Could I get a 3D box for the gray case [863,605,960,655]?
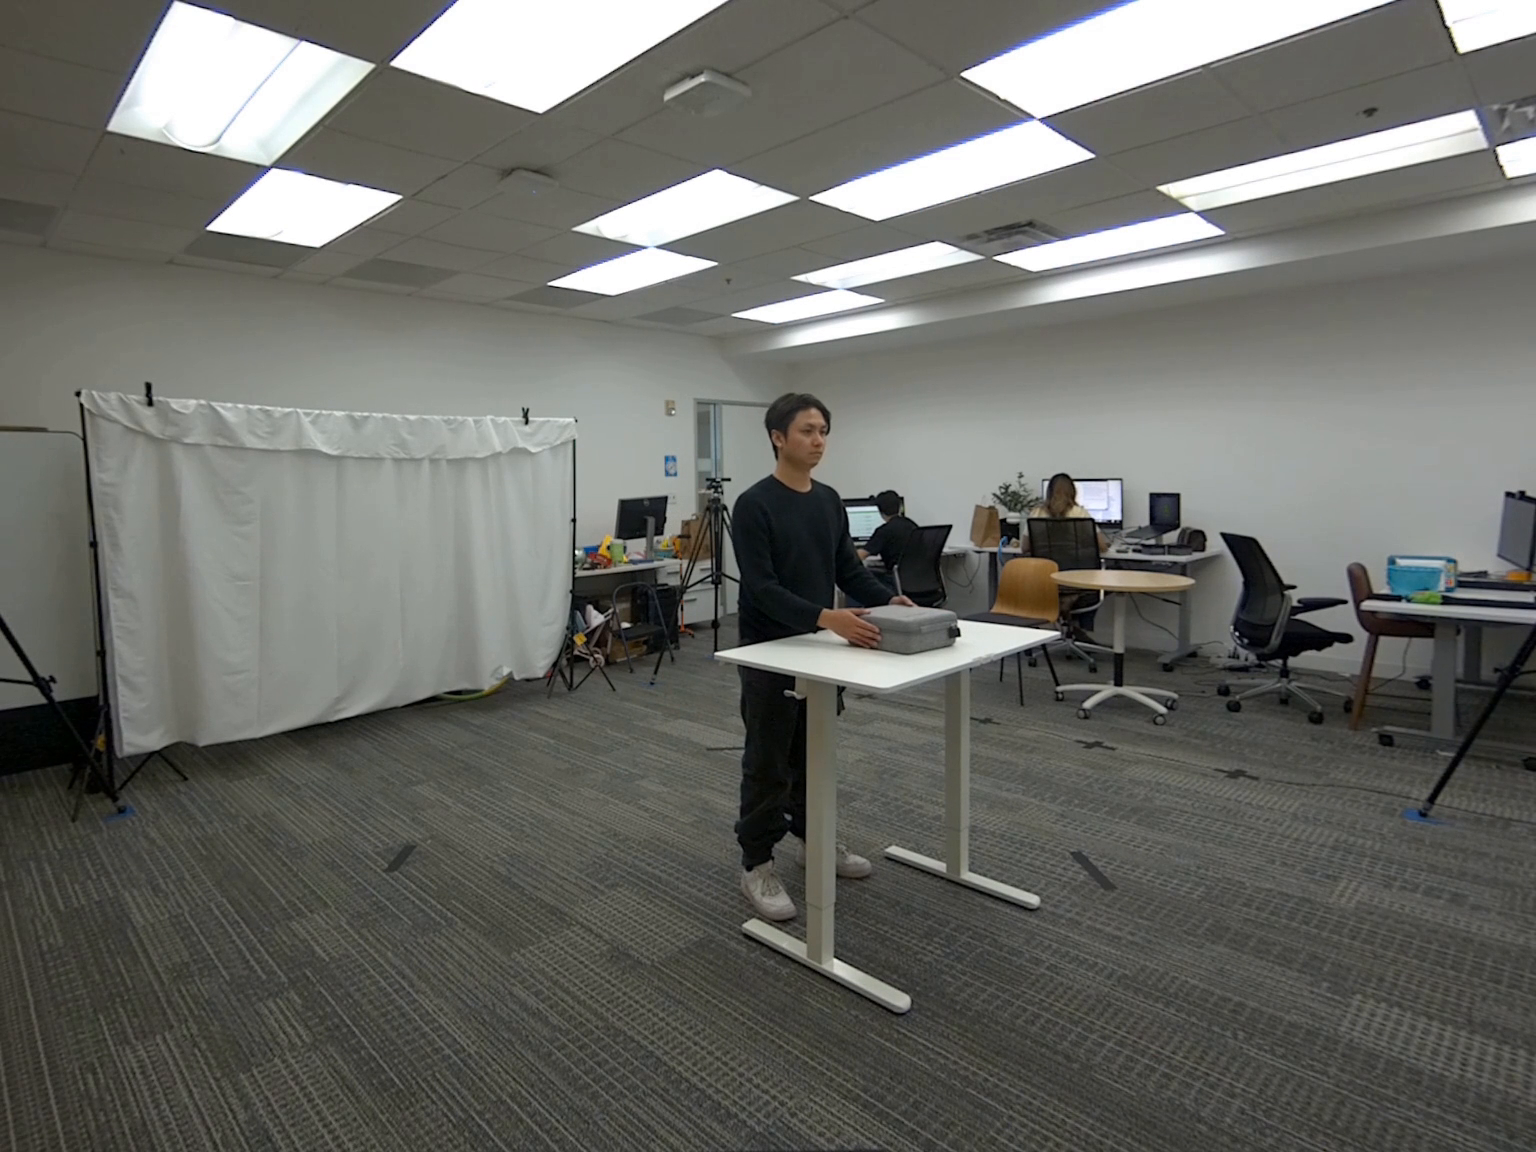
[{"bbox_3d":[0.414,0.161,2.592,0.250,0.104,0.269,-7,9,-41],"label":"gray case"}]
